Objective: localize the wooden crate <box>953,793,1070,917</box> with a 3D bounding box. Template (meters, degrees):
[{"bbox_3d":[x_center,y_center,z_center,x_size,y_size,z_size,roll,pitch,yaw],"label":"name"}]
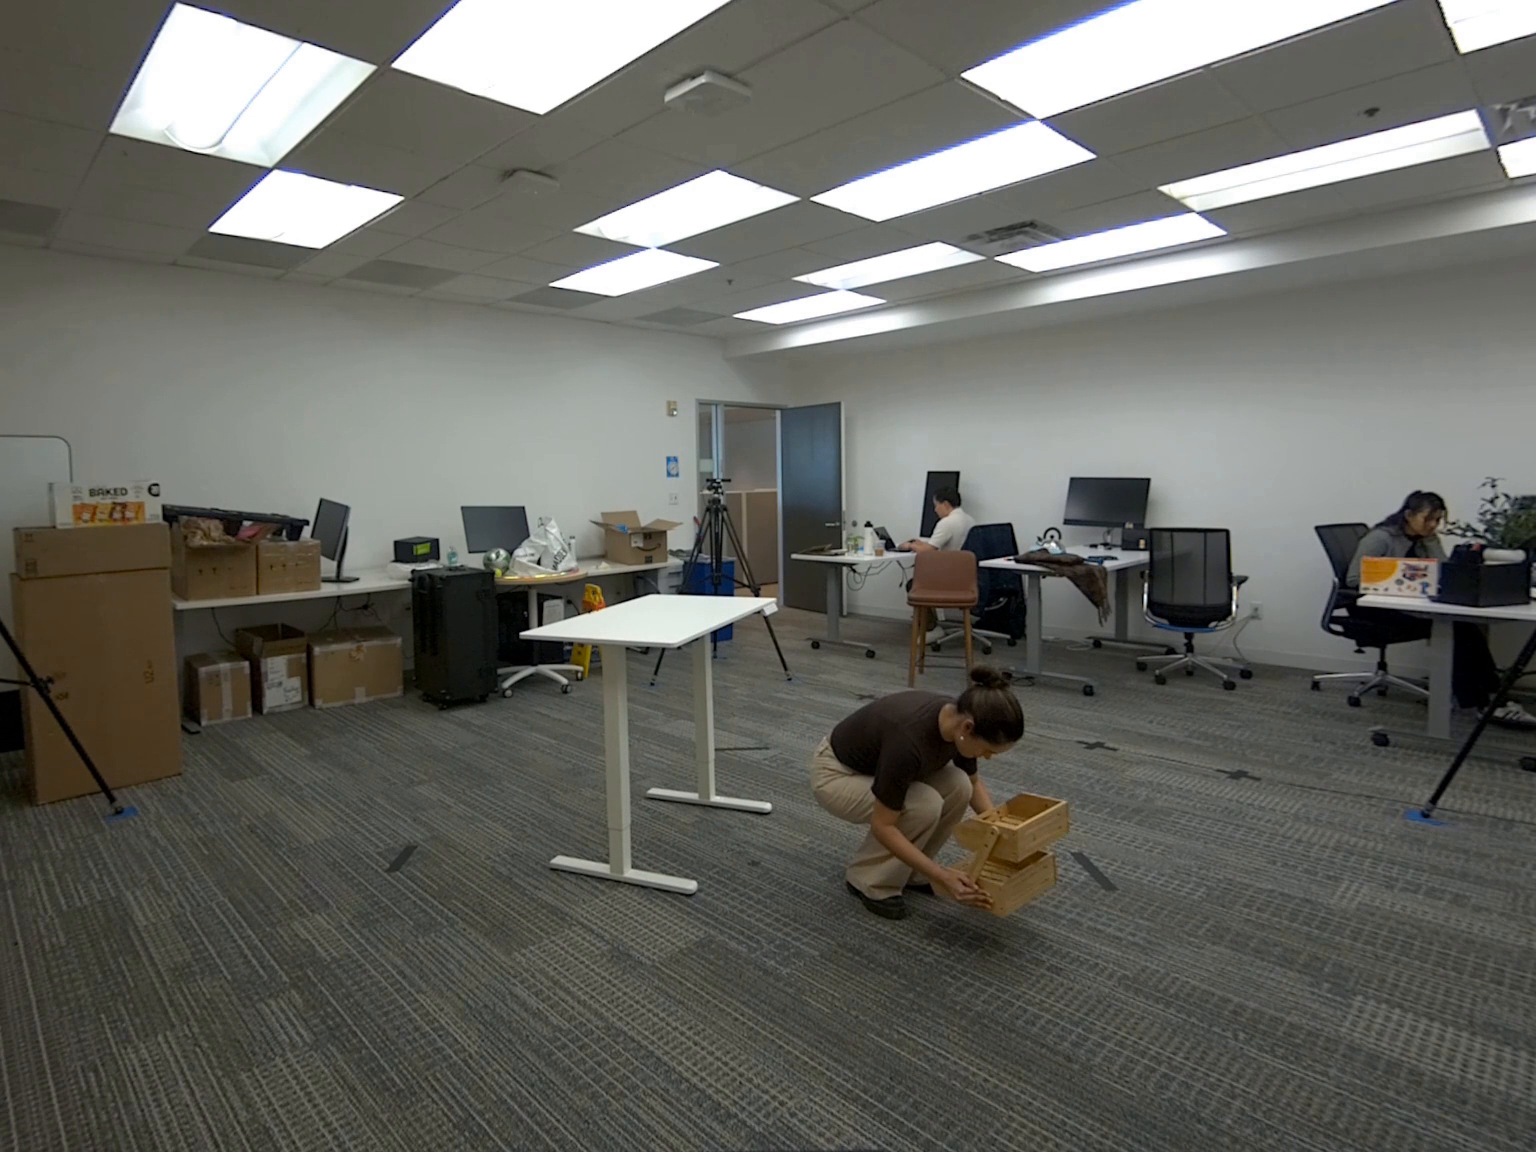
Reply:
[{"bbox_3d":[0.699,0.813,2.563,0.316,0.273,0.310,-7,4,-42],"label":"wooden crate"}]
